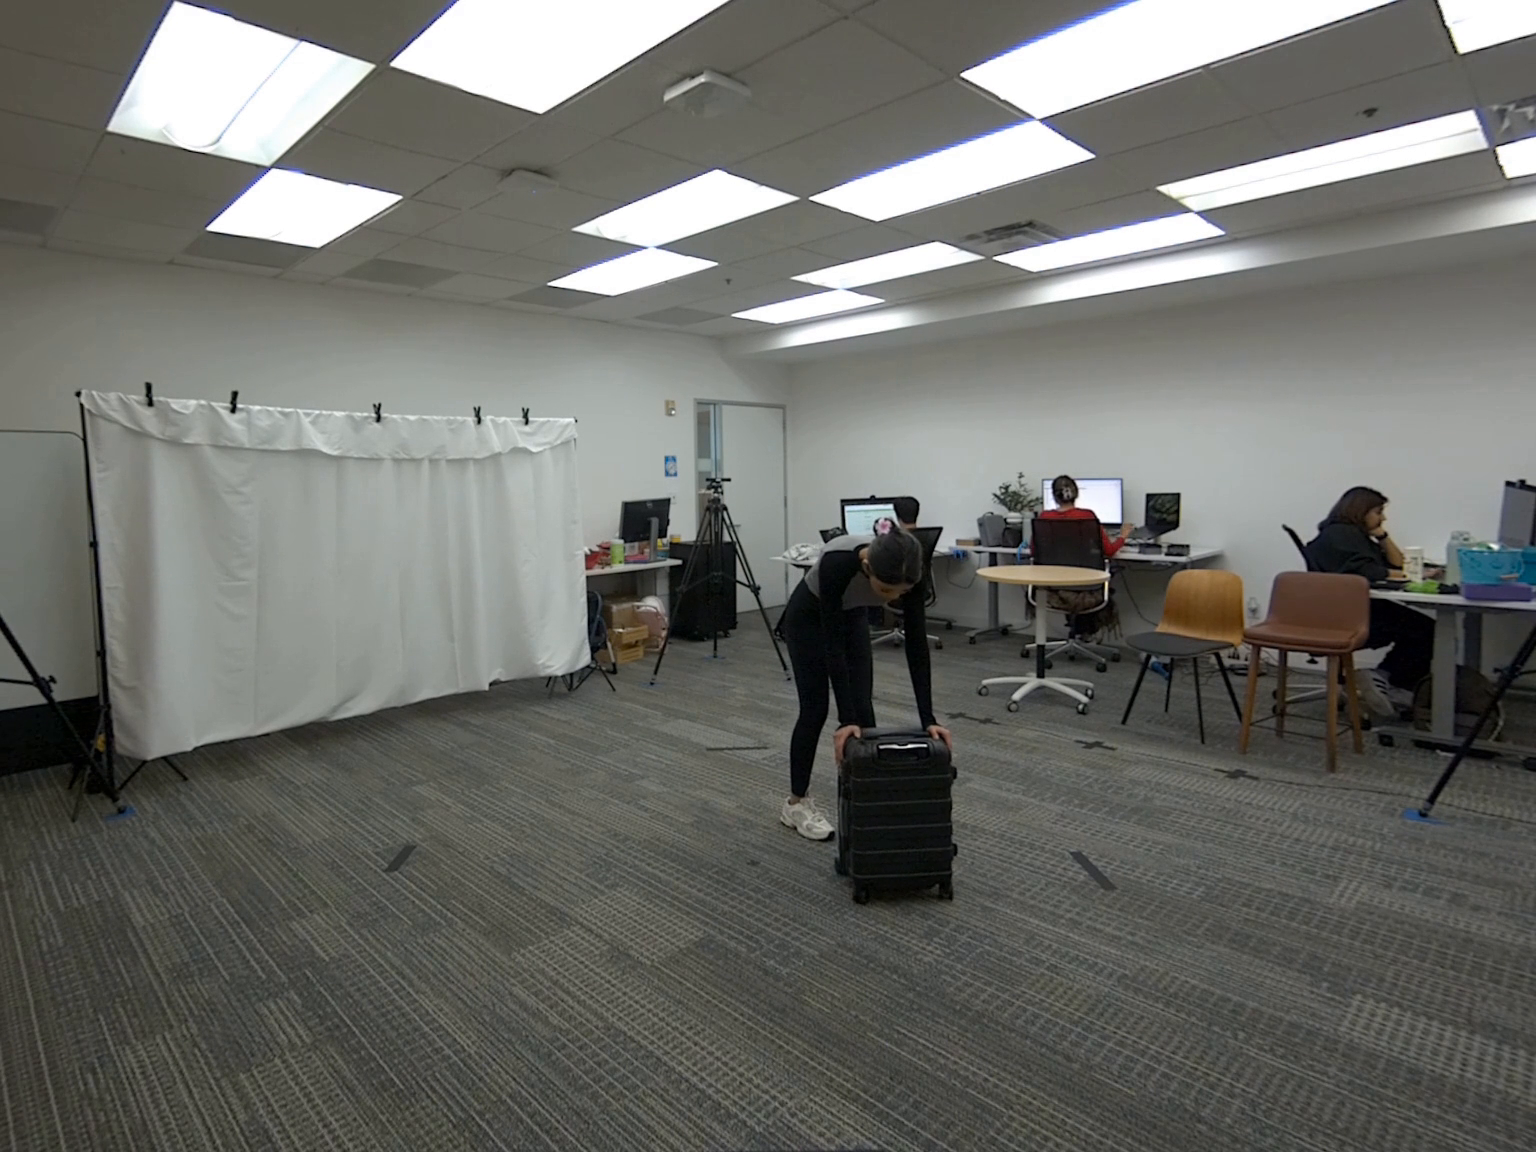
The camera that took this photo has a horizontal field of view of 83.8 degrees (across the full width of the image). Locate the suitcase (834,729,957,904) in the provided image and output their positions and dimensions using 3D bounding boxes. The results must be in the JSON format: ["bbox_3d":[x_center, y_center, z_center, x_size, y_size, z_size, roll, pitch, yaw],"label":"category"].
[{"bbox_3d":[0.429,0.786,2.877,0.373,0.547,0.251,-2,5,-7],"label":"suitcase"}]
